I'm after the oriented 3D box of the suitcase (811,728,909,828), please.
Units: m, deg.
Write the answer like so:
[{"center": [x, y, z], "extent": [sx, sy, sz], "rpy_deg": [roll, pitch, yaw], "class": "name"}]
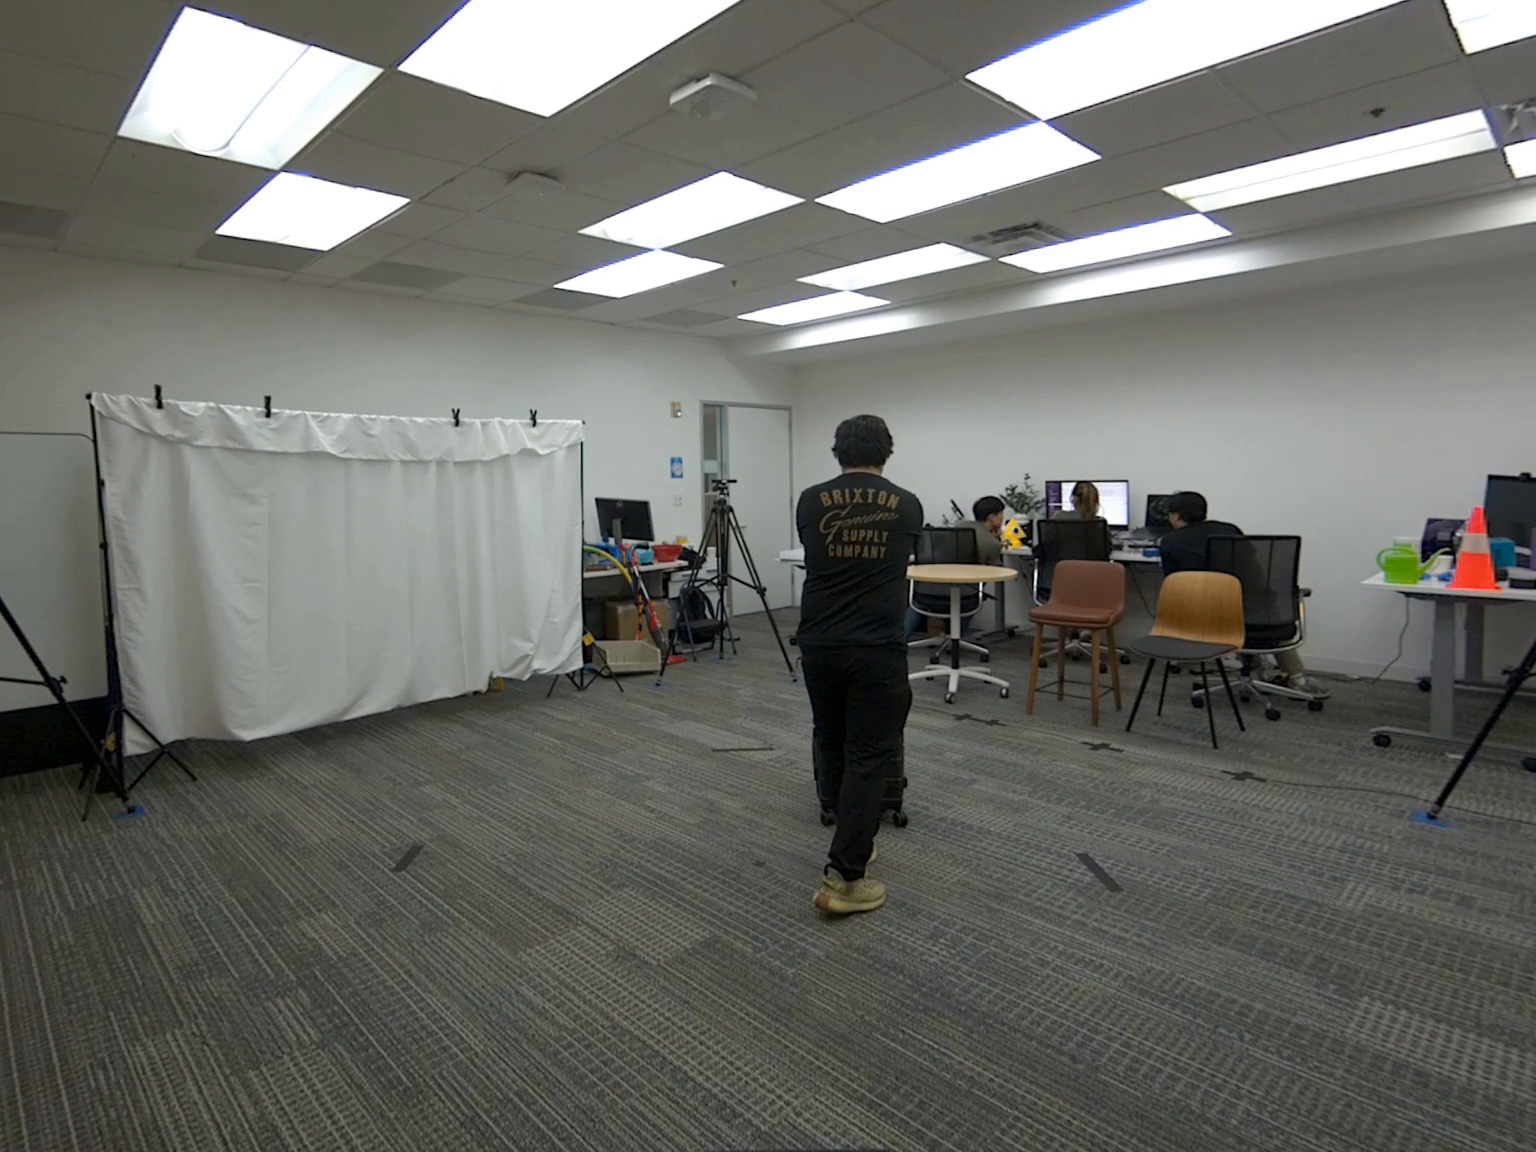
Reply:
[{"center": [0.382, 0.522, 3.567], "extent": [0.386, 0.981, 0.255], "rpy_deg": [-1, -3, 5], "class": "suitcase"}]
